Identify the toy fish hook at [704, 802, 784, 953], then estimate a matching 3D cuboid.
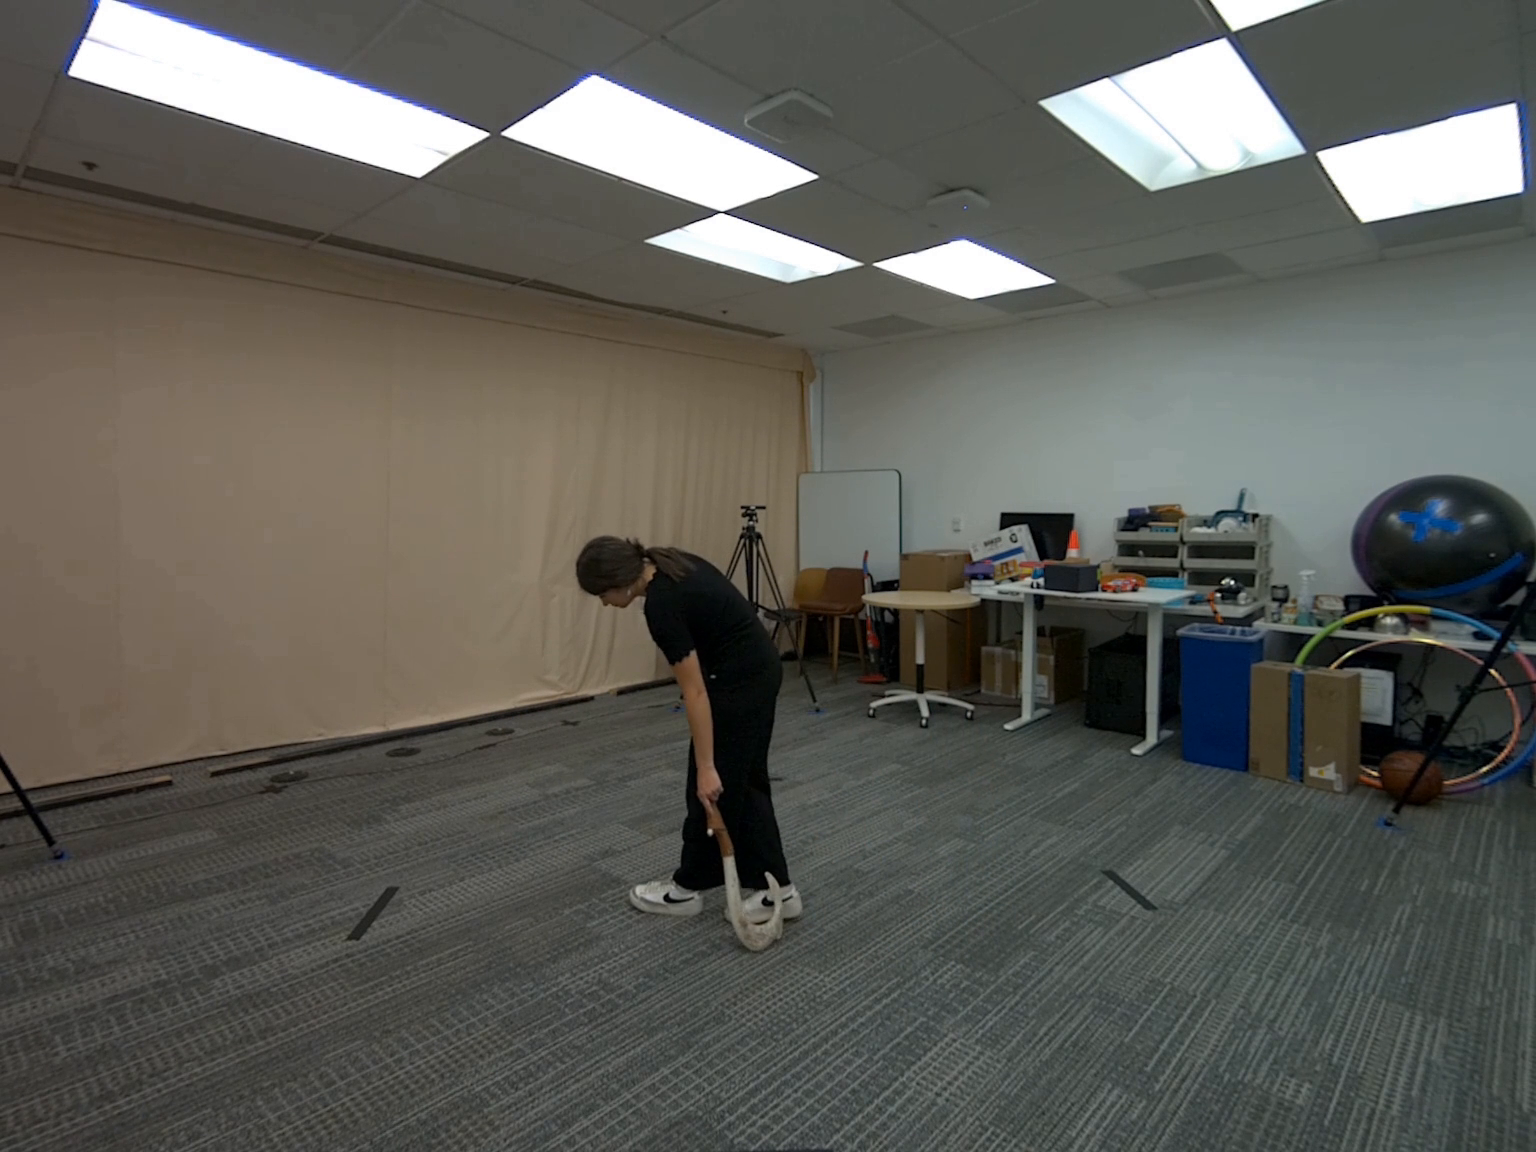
[{"bbox_3d":[-0.079,0.925,2.702,0.049,0.510,0.218,-25,-9,39],"label":"toy fish hook"}]
